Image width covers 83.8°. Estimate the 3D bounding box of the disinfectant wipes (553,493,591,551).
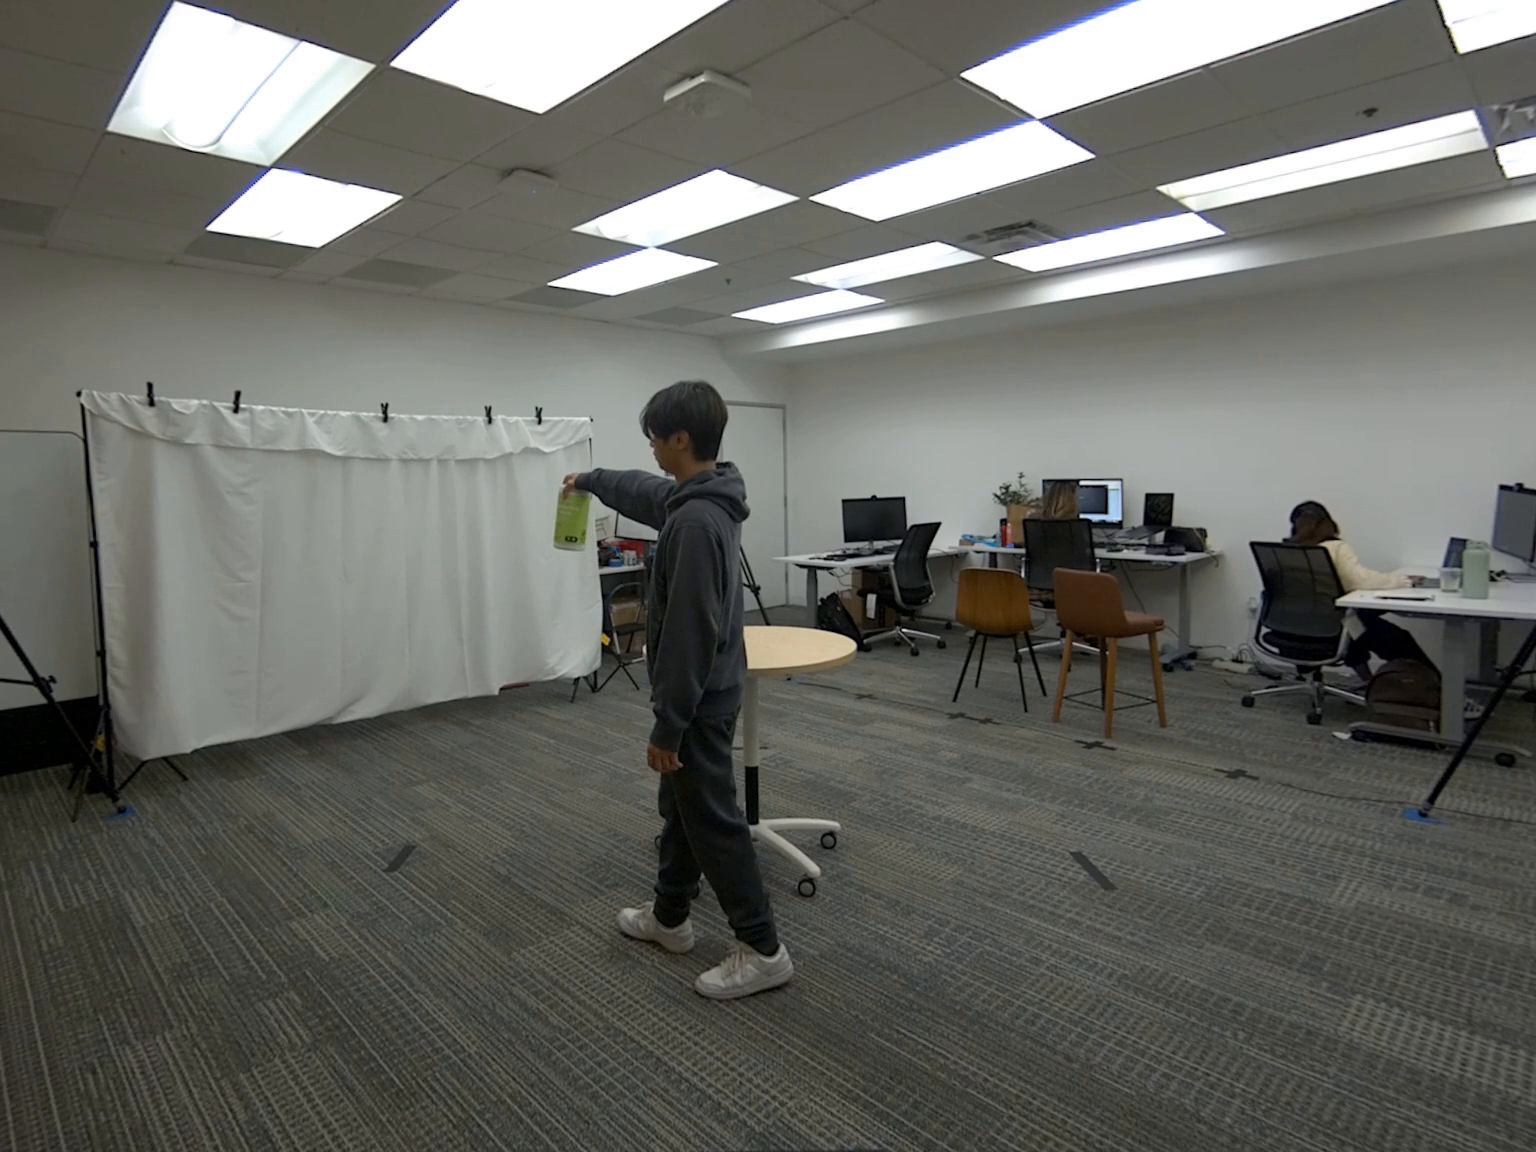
[{"bbox_3d":[-0.660,-0.199,2.886,0.117,0.216,0.119,7,7,-3],"label":"disinfectant wipes"}]
